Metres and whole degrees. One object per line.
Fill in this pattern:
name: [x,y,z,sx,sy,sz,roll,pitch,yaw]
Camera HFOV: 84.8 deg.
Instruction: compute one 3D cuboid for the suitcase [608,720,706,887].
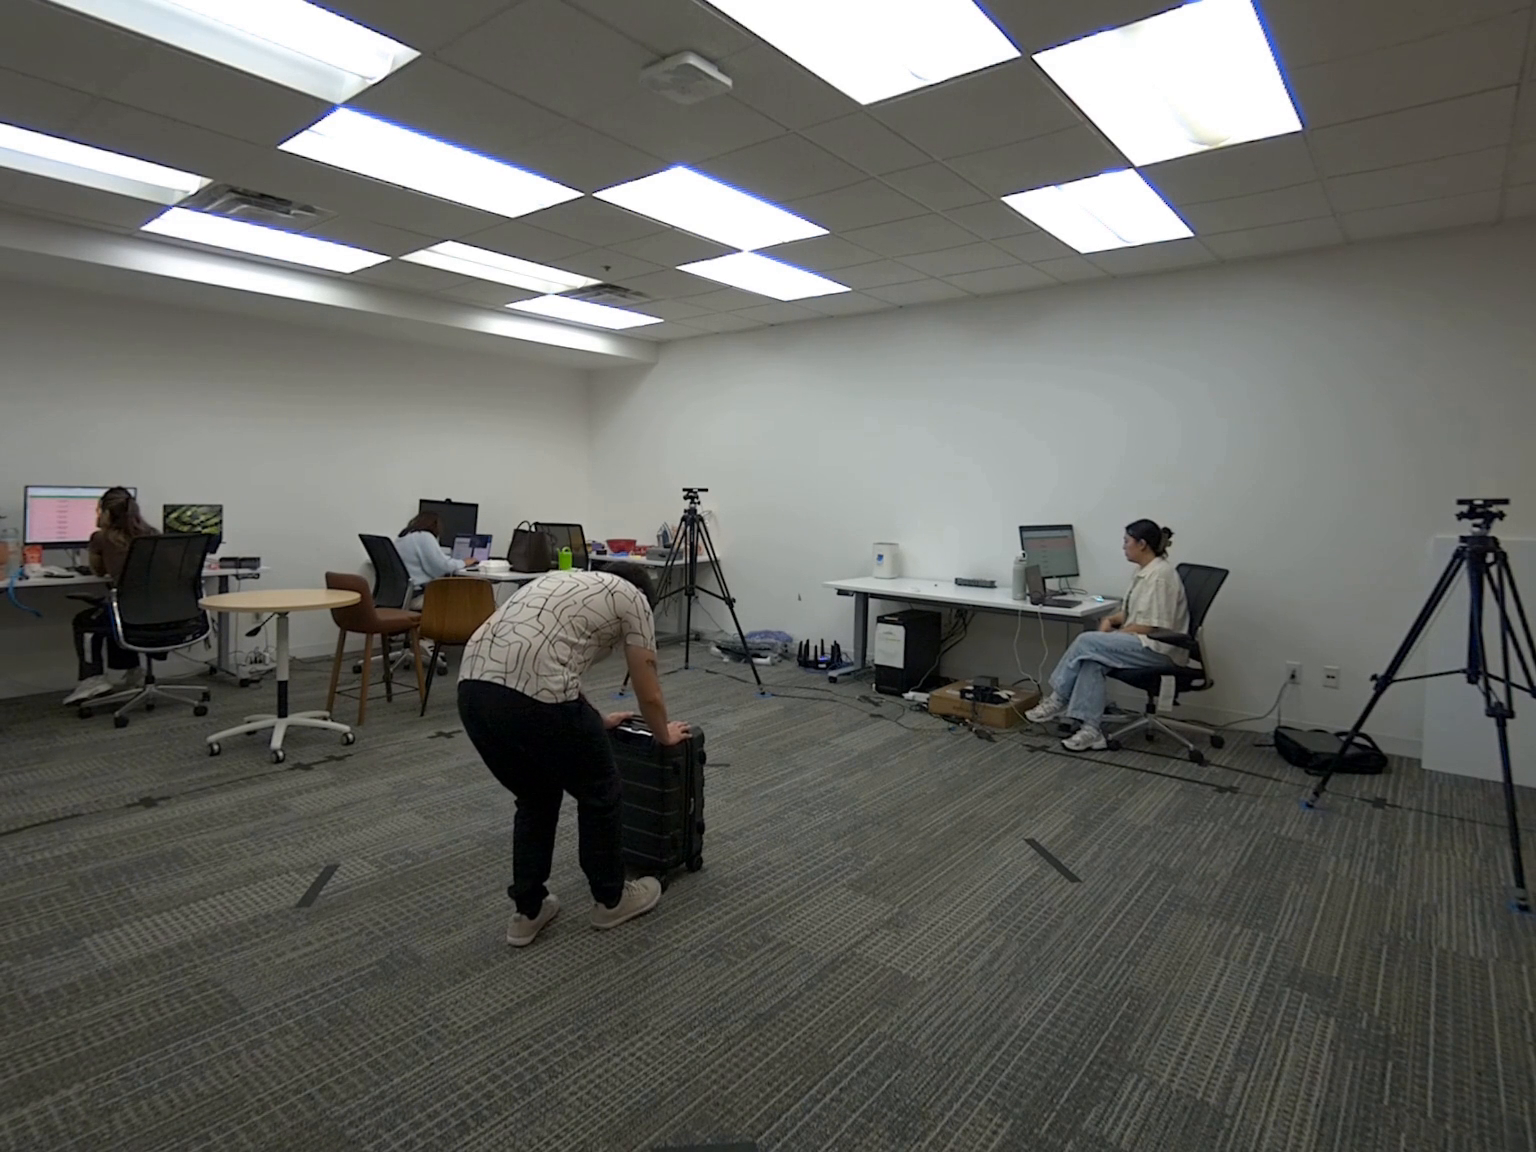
suitcase: [-0.437,0.792,3.114,0.387,0.549,0.241,4,2,33]
